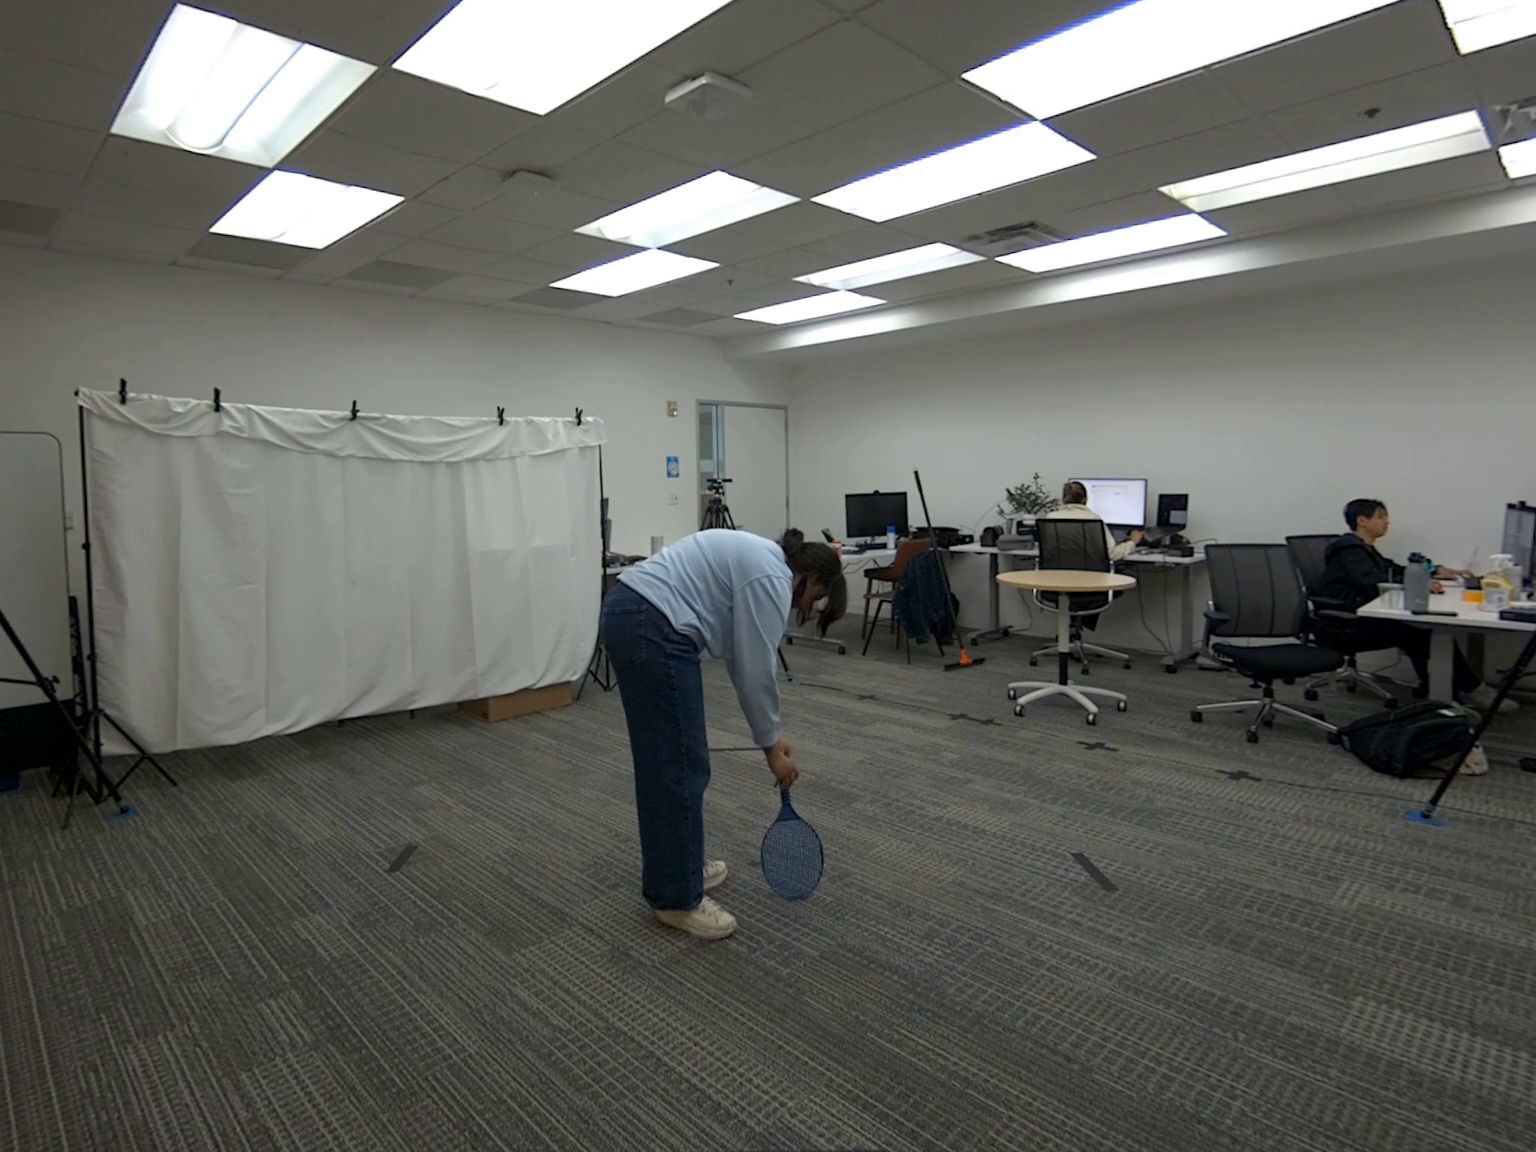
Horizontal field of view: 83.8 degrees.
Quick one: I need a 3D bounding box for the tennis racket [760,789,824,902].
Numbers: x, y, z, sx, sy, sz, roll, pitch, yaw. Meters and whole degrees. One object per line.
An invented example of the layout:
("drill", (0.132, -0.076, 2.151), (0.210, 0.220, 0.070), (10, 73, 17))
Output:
("tennis racket", (0.073, 0.852, 2.864), (0.212, 0.436, 0.032), (-8, -7, -6))
